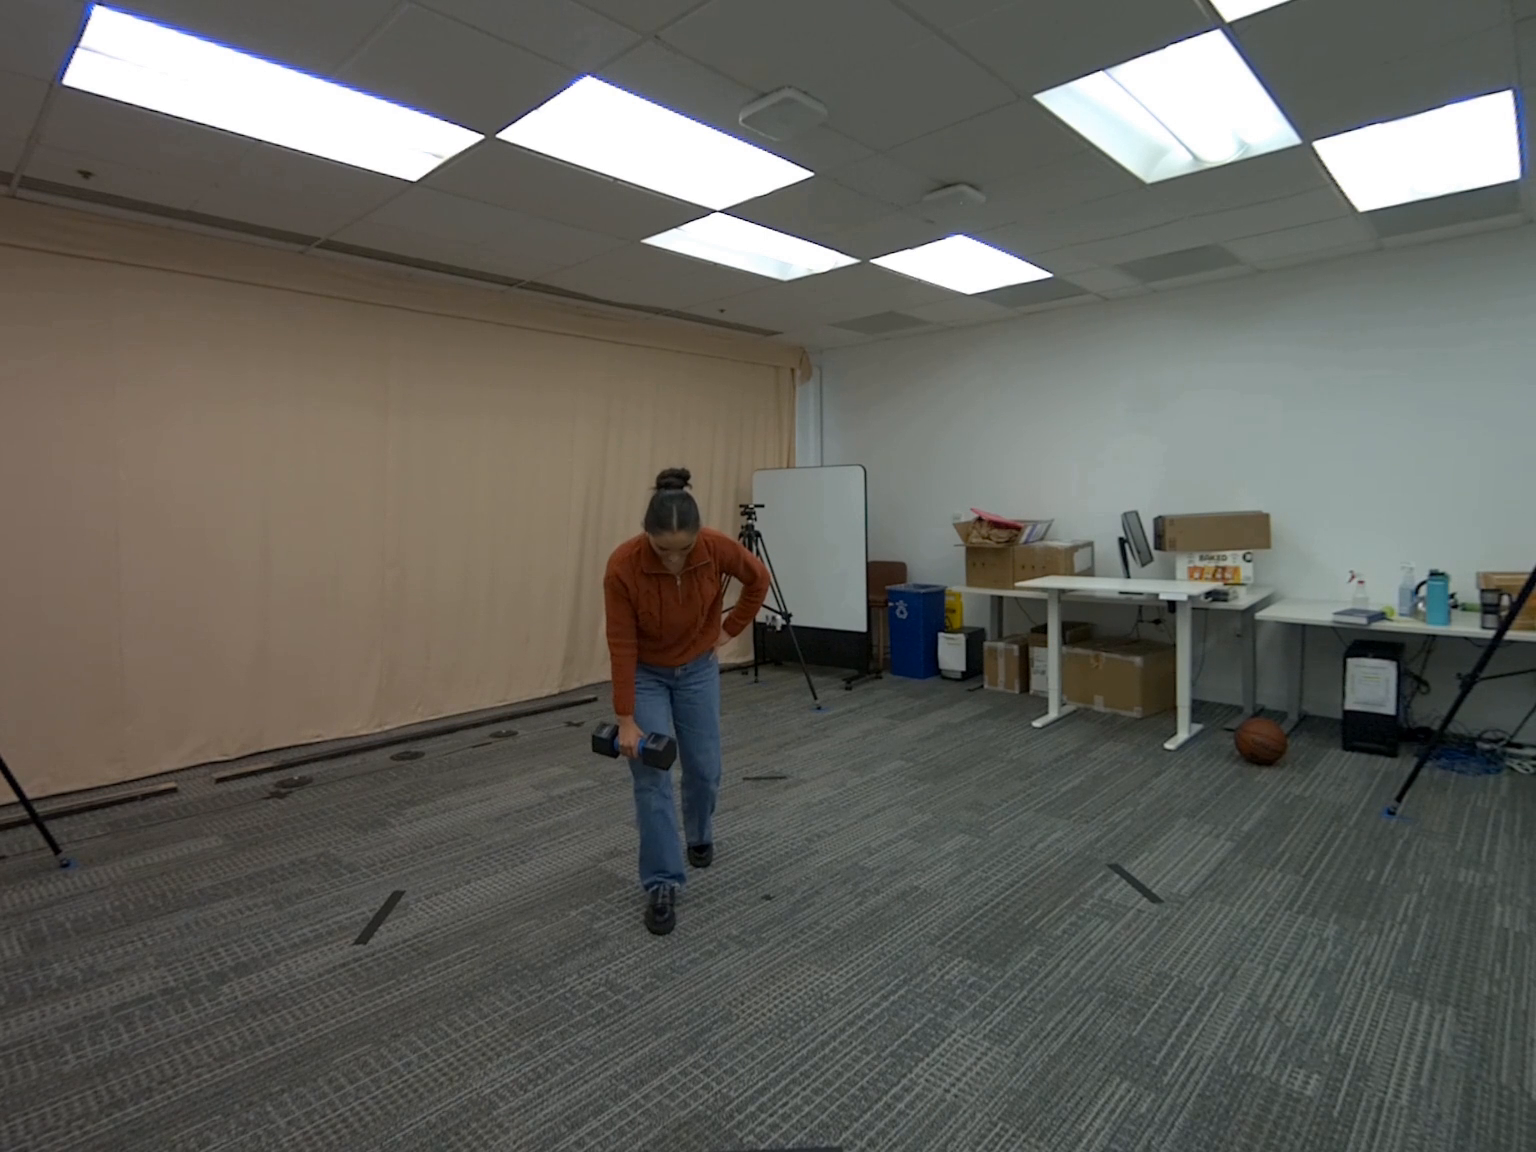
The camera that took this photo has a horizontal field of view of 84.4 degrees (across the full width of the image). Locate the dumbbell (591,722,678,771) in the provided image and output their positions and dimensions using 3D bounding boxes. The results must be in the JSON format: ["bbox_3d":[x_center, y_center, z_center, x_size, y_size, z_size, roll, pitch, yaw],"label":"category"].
[{"bbox_3d":[-0.449,0.568,2.814,0.303,0.122,0.106,5,9,32],"label":"dumbbell"}]
